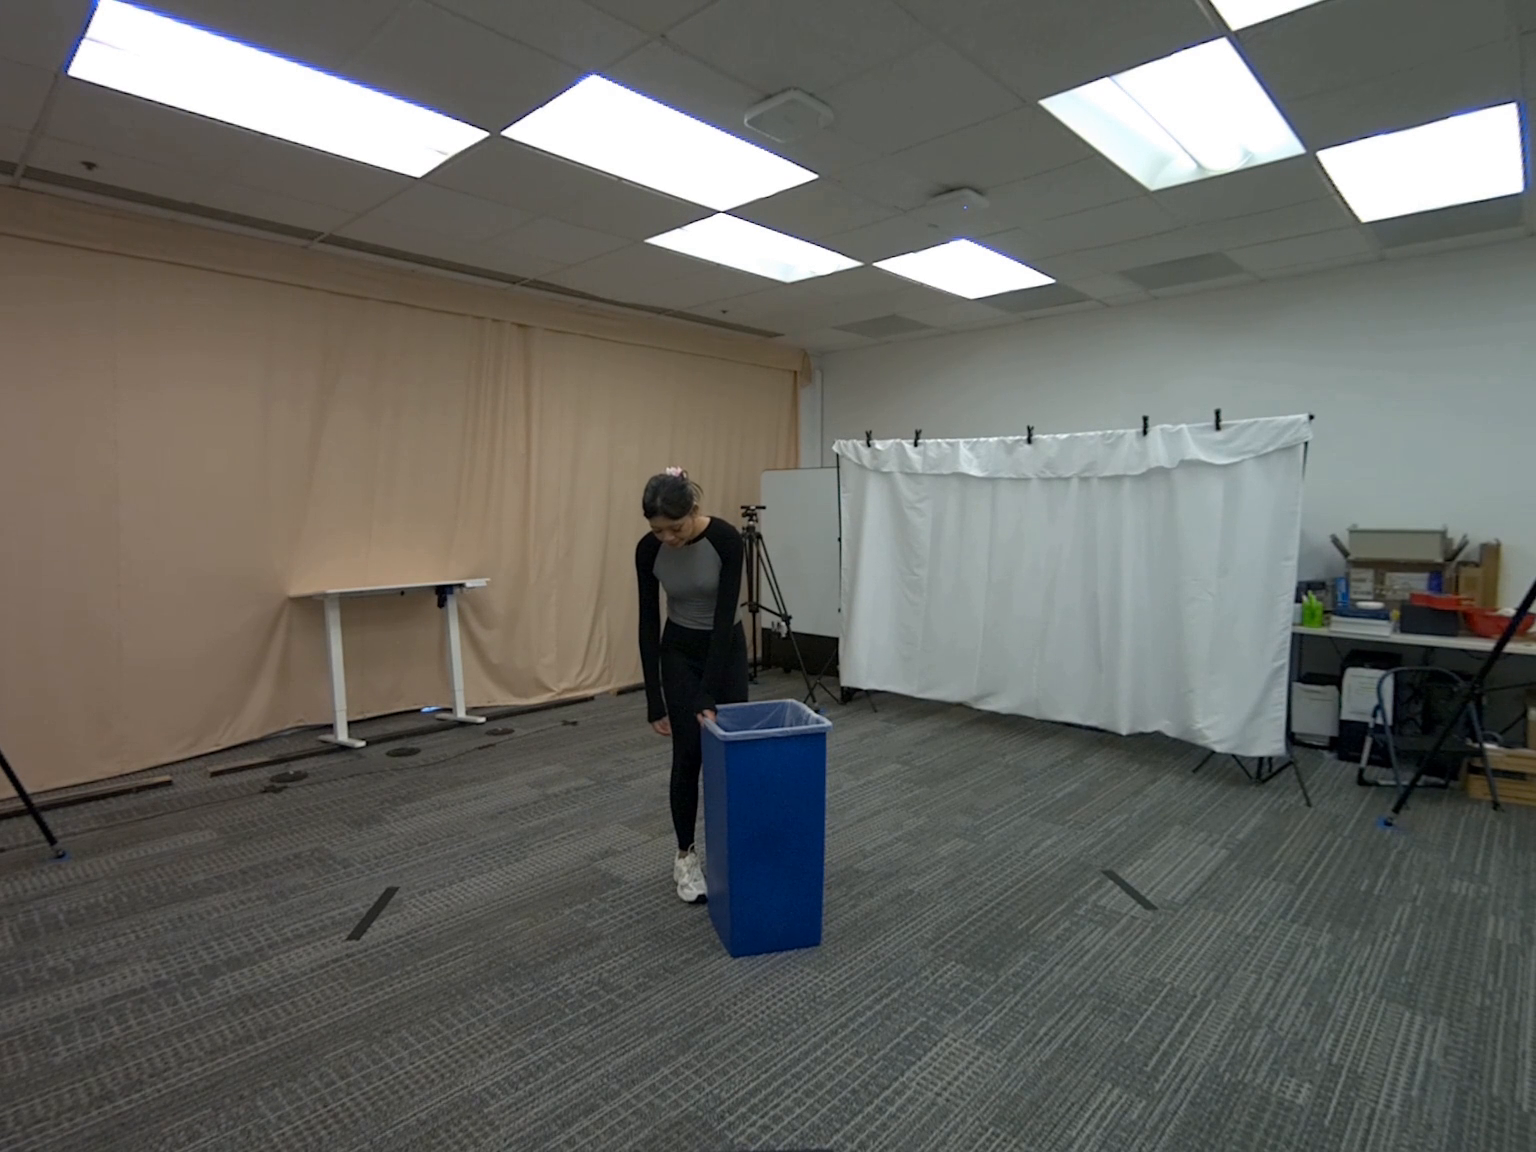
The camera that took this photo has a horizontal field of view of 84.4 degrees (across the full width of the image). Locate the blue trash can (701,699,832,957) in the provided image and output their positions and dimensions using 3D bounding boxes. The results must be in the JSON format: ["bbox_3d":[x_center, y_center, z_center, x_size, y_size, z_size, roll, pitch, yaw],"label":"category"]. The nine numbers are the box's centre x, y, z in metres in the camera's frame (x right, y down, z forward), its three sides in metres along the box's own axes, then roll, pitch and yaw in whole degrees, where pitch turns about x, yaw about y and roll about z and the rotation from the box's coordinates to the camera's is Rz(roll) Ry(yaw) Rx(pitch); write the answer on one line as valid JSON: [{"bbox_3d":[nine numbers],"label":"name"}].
[{"bbox_3d":[-0.016,0.806,2.748,0.368,0.712,0.385,-1,3,-17],"label":"blue trash can"}]
